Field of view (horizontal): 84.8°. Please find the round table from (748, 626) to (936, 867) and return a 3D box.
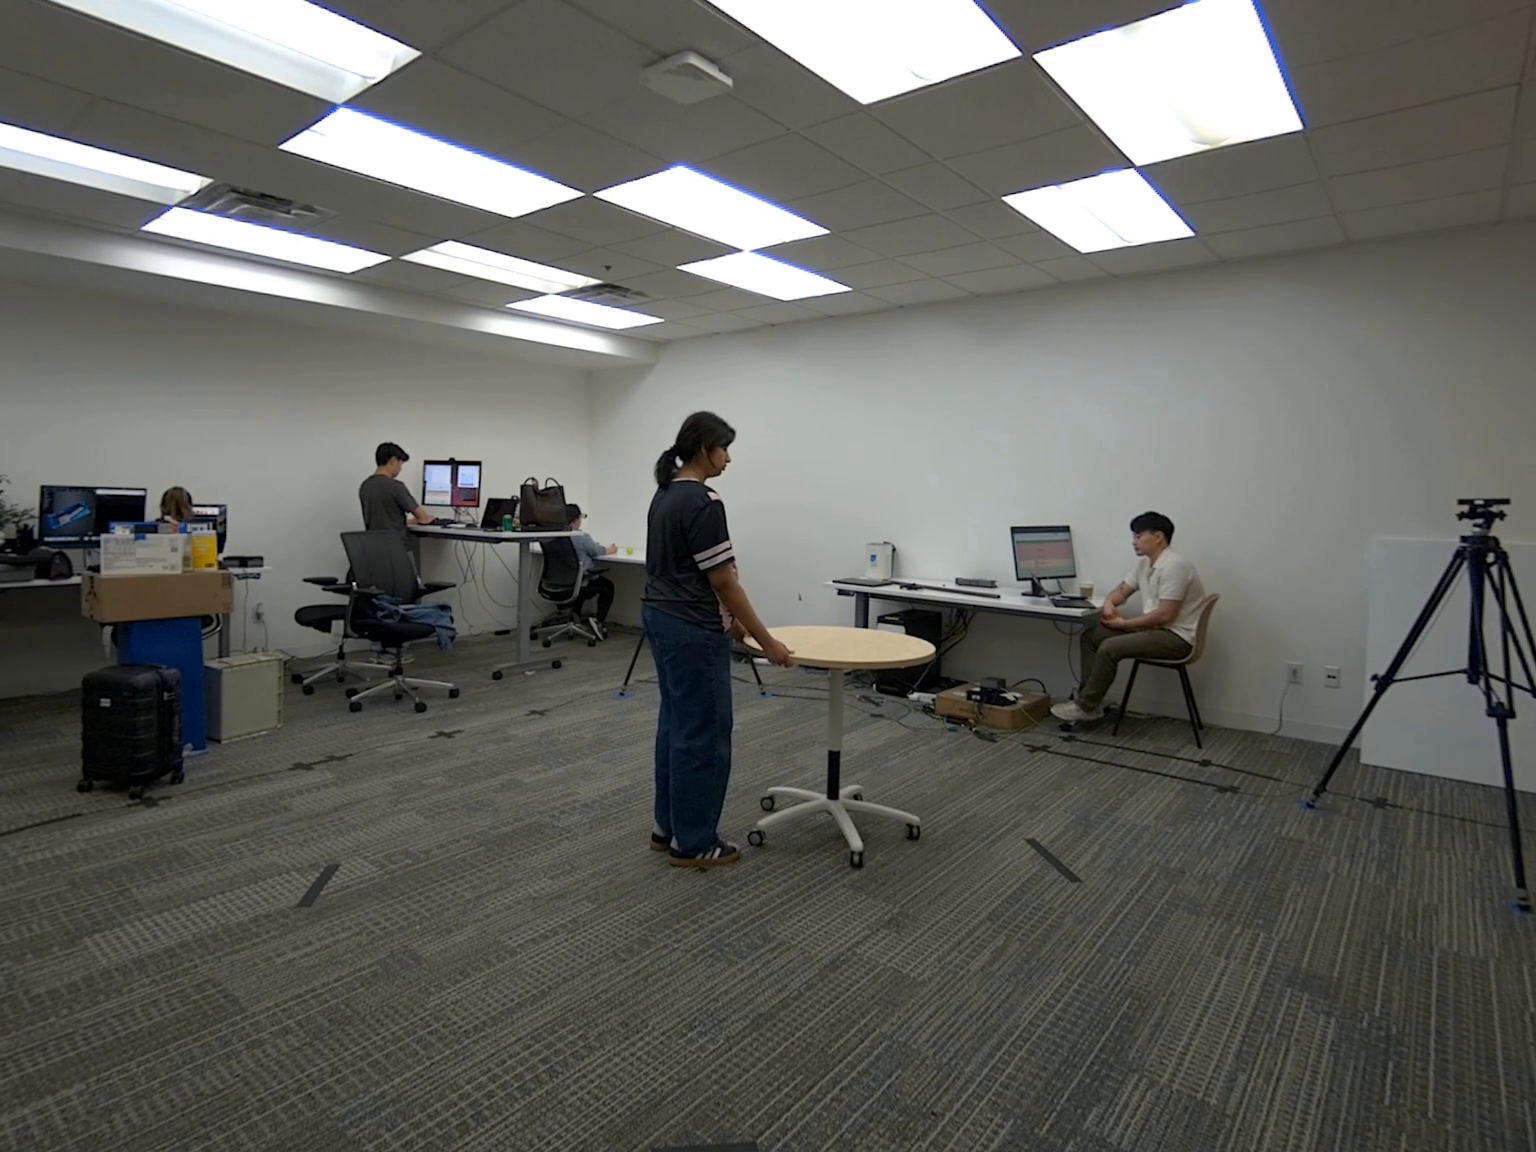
[{"bbox_3d":[0.247,0.656,3.458,0.784,0.784,0.789,2,4,-2],"label":"round table"}]
